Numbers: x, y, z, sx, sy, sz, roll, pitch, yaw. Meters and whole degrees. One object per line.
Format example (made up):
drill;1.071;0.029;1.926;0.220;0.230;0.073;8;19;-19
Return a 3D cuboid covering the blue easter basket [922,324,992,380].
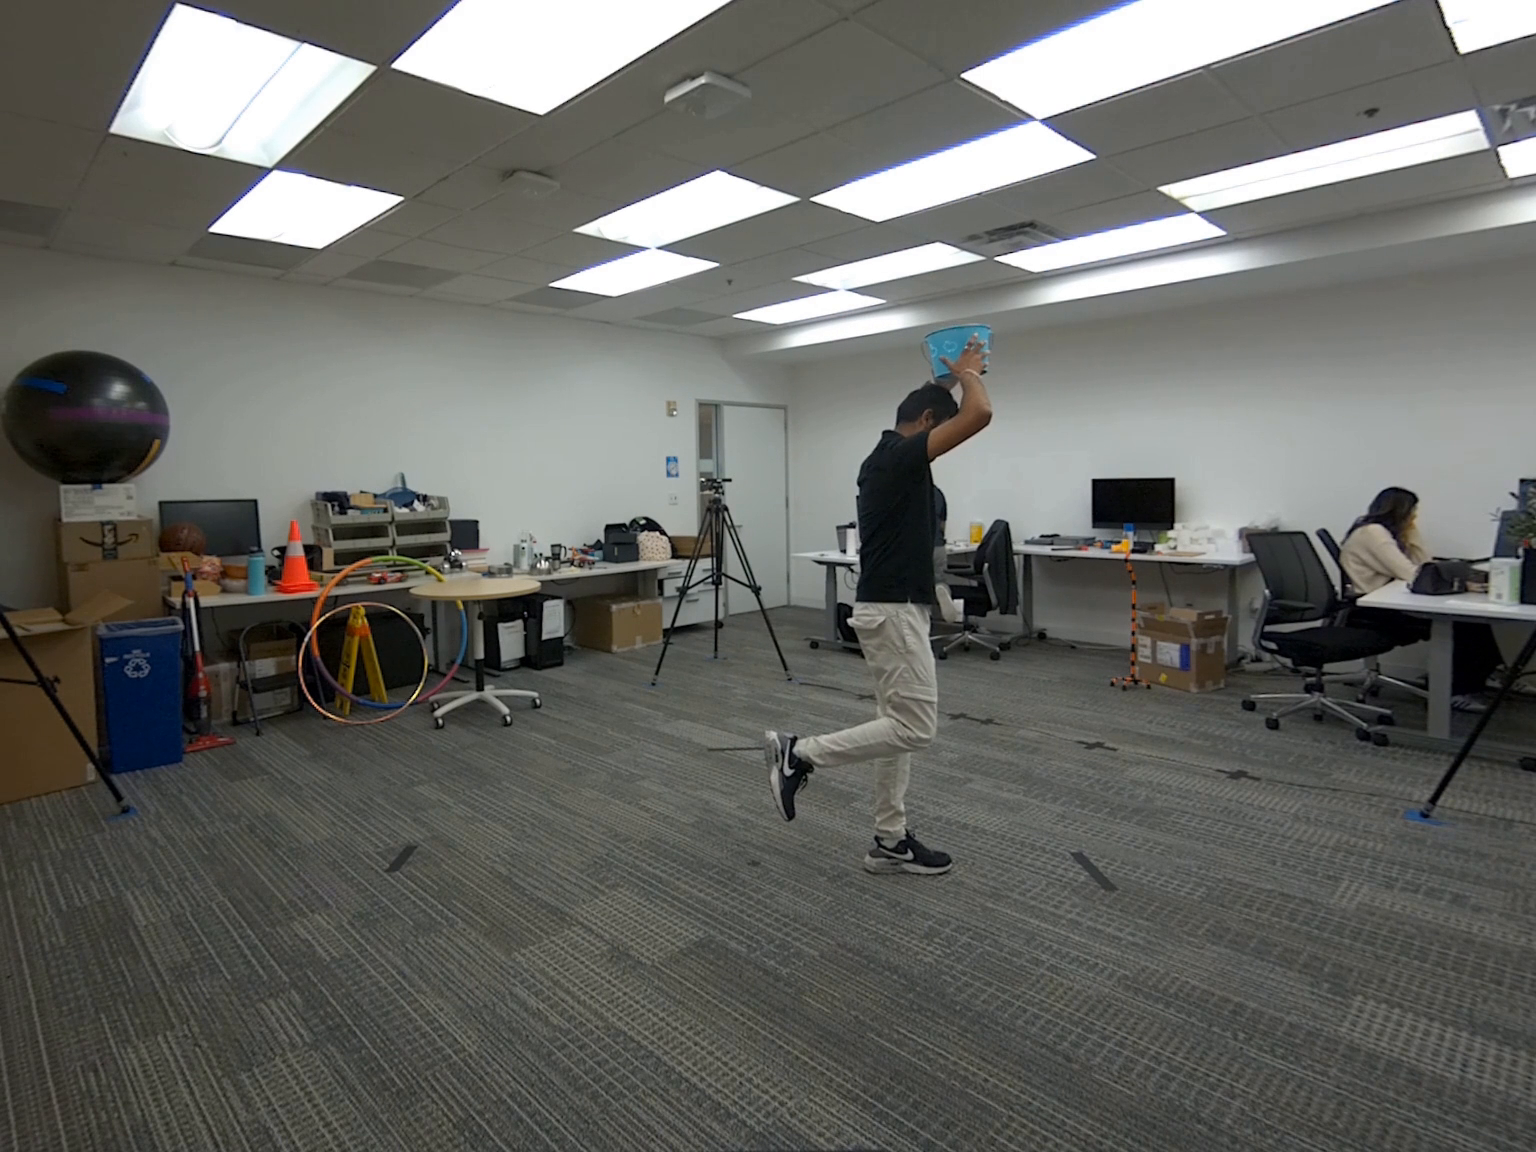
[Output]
blue easter basket;0.701;-0.797;3.056;0.243;0.156;0.243;-2;0;-2
